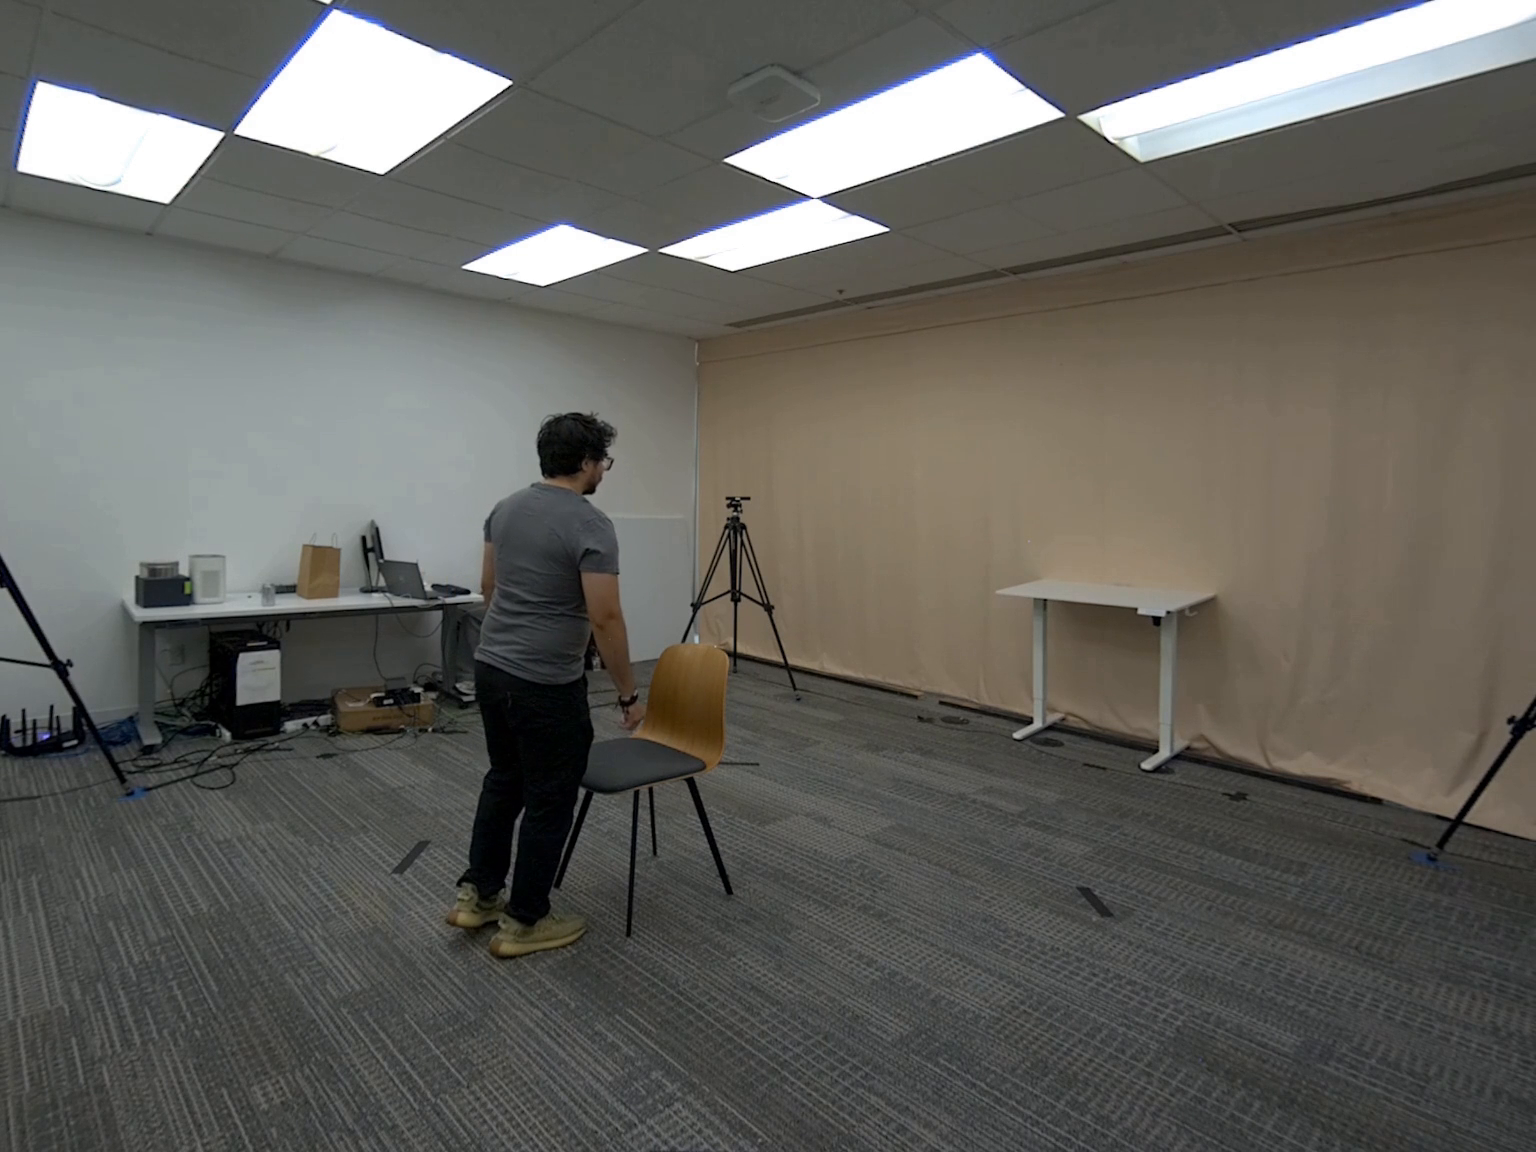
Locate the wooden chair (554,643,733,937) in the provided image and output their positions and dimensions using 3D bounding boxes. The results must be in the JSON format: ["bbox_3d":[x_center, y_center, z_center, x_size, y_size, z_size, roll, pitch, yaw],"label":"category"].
[{"bbox_3d":[-0.438,0.691,2.934,0.510,0.877,0.490,4,1,-44],"label":"wooden chair"}]
